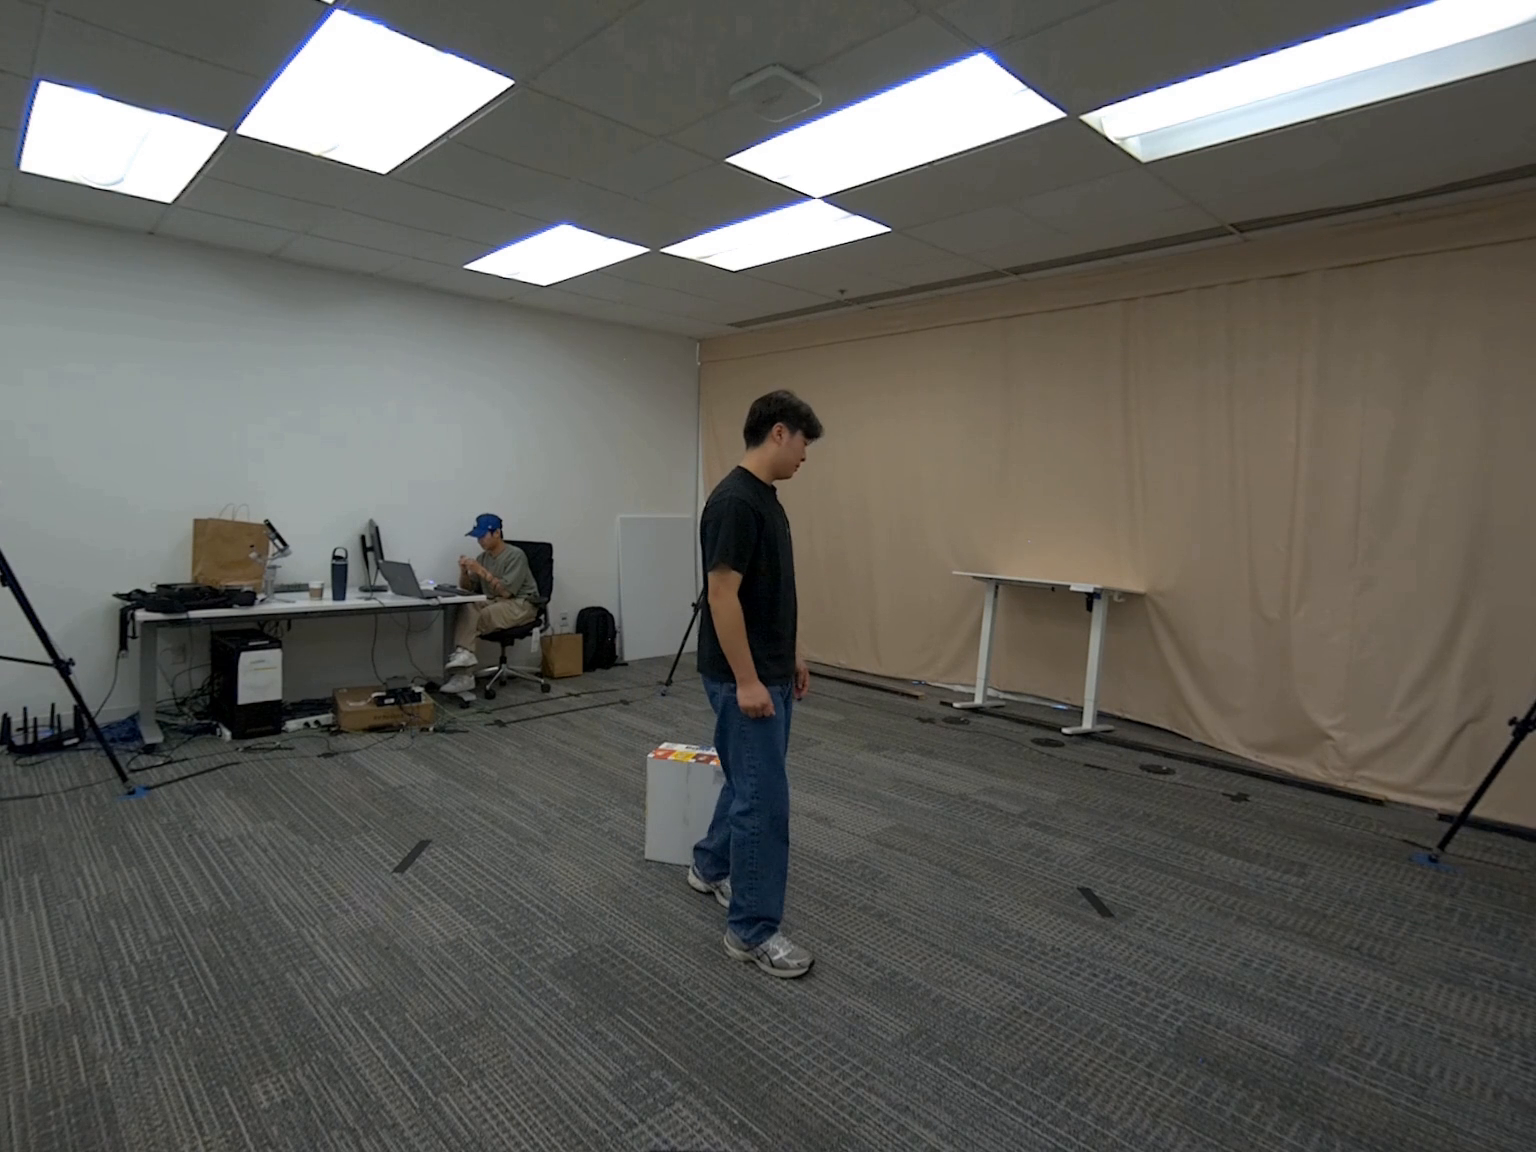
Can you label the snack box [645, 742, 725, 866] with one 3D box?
[{"bbox_3d":[-0.286,0.887,3.257,0.345,0.404,0.203,3,3,16],"label":"snack box"}]
